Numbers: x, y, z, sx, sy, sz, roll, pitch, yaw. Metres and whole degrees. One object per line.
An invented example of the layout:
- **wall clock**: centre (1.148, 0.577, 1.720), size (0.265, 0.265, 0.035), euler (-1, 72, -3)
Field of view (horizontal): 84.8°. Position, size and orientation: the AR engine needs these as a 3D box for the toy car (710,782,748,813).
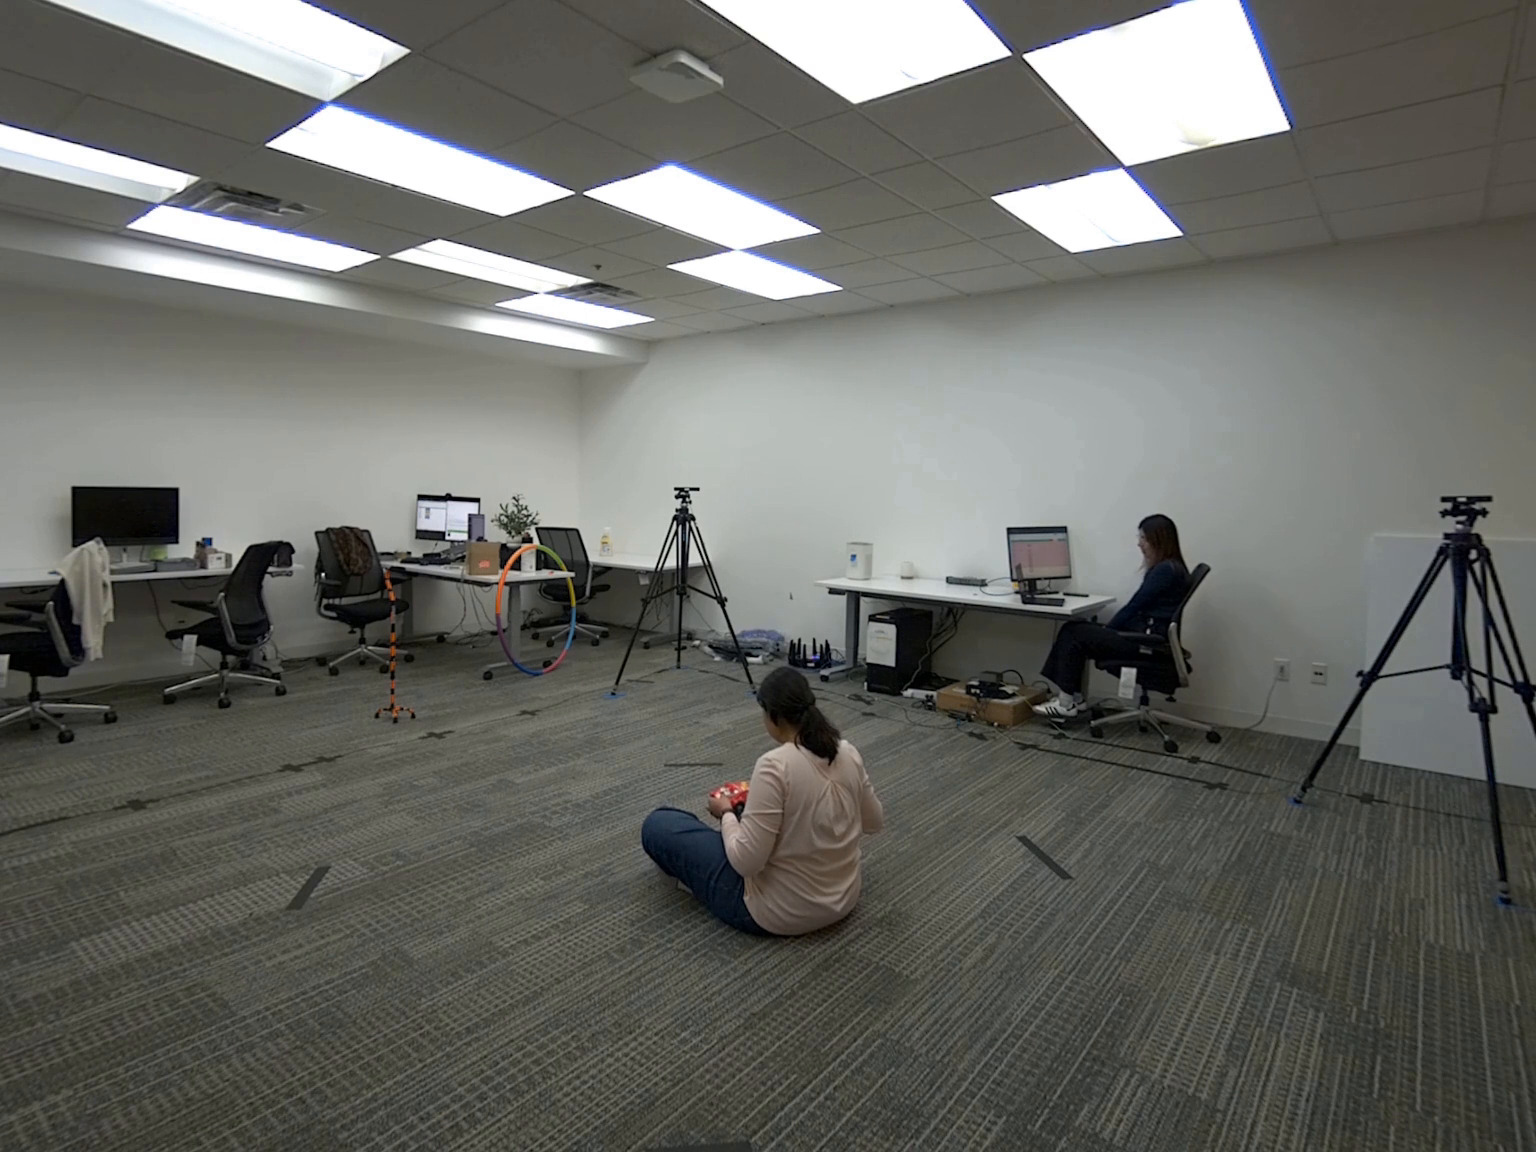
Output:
- **toy car**: centre (-0.102, 0.777, 3.018), size (0.245, 0.083, 0.135), euler (13, 6, -39)
